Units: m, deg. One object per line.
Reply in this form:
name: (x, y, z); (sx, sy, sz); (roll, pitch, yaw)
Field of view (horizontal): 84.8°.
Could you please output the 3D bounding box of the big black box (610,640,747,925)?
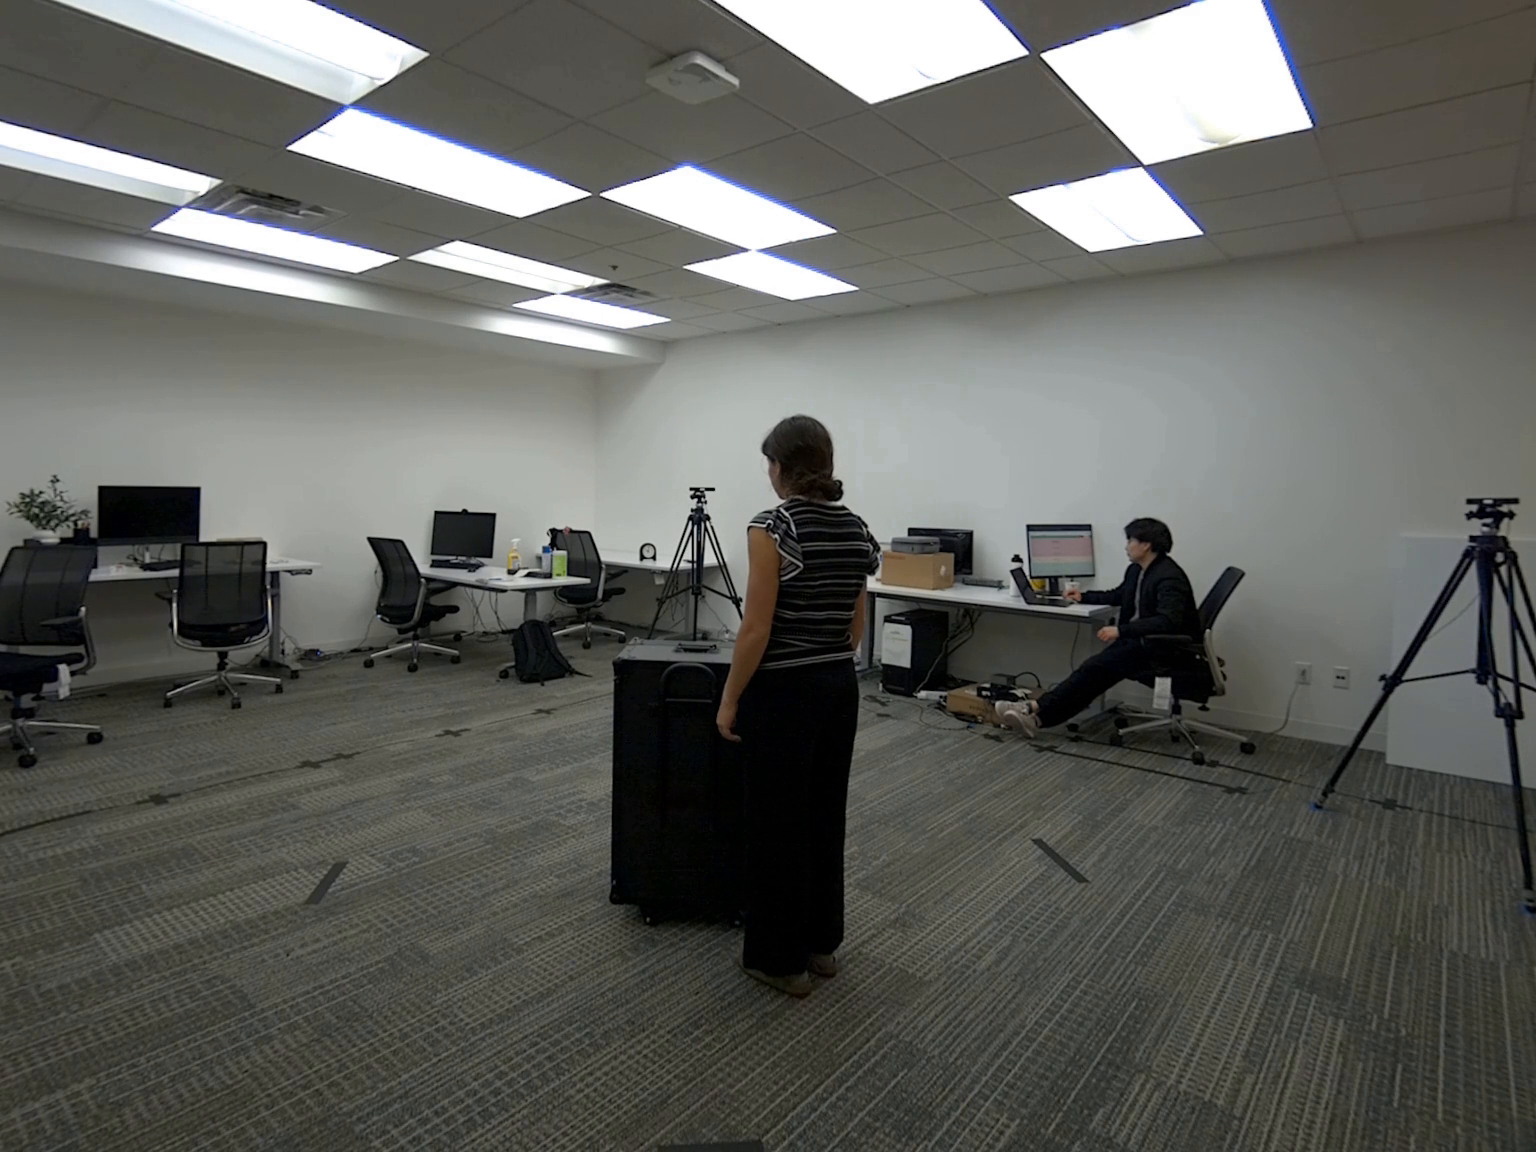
big black box: (-0.257, 0.669, 2.809); (0.524, 0.858, 0.396); (2, 4, 3)
